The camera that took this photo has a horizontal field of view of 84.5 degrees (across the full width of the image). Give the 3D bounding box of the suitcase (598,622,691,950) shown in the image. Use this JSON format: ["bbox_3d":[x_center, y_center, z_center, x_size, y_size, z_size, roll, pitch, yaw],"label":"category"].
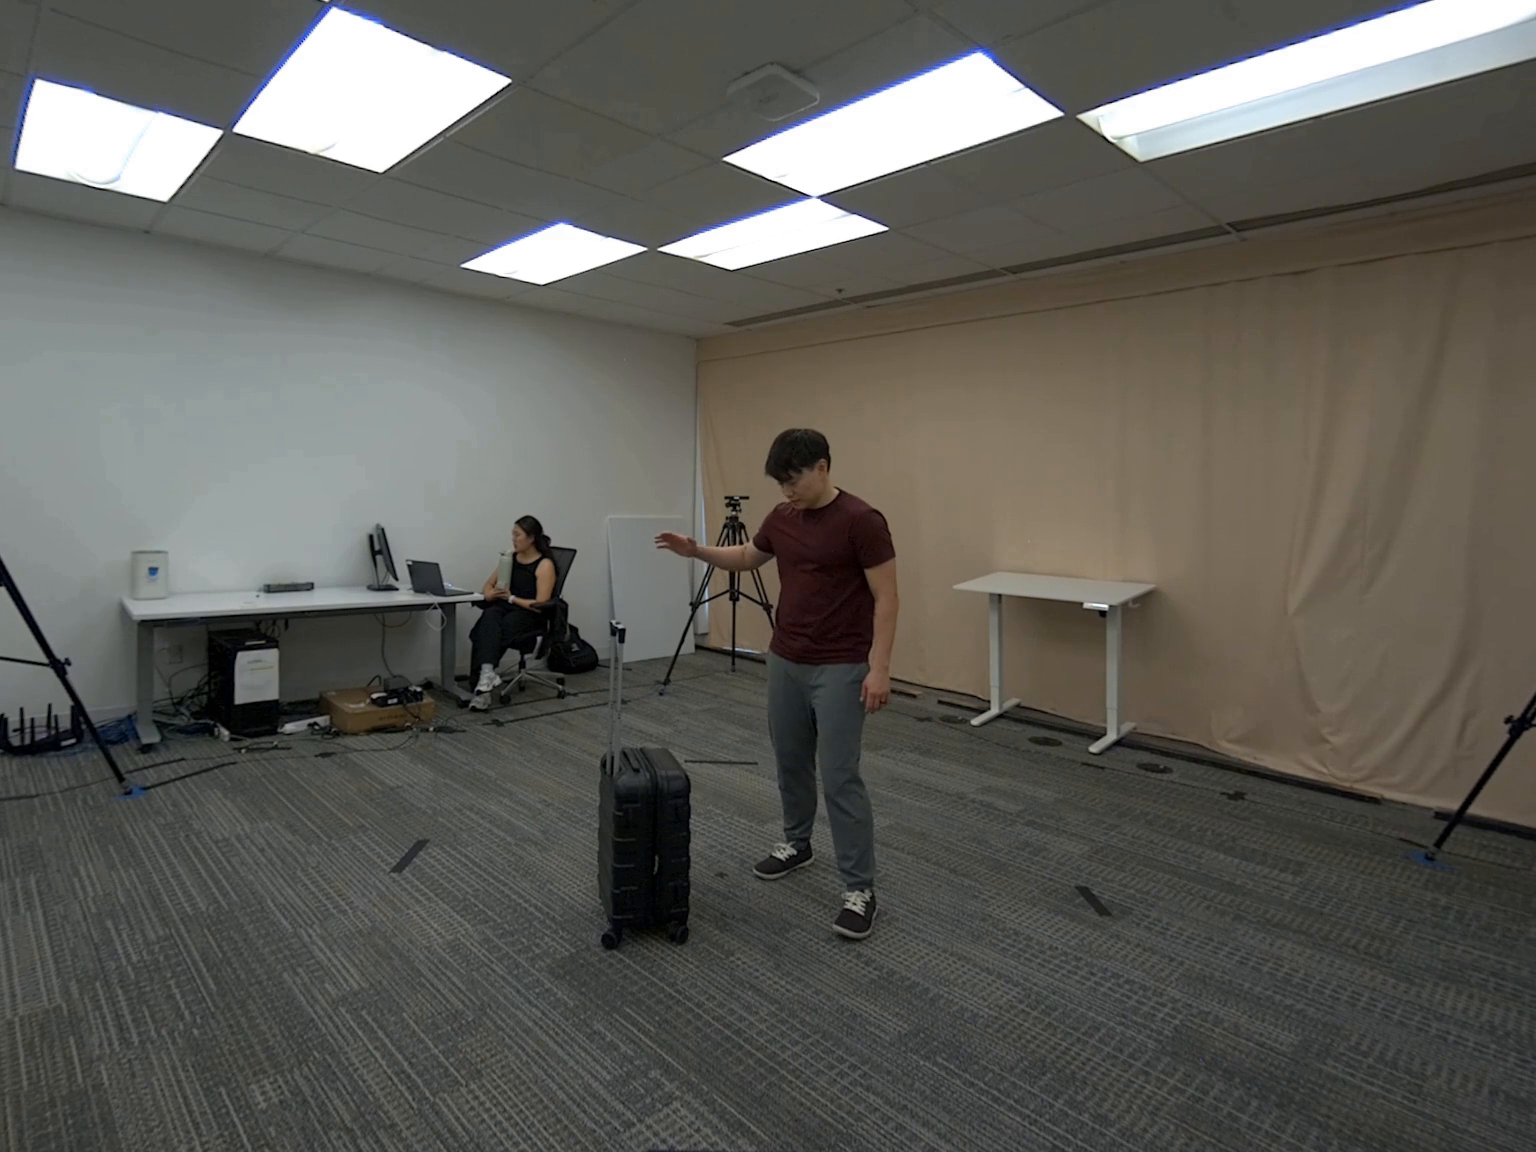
[{"bbox_3d":[-0.403,0.656,2.726,0.254,0.976,0.389,2,4,-14],"label":"suitcase"}]
